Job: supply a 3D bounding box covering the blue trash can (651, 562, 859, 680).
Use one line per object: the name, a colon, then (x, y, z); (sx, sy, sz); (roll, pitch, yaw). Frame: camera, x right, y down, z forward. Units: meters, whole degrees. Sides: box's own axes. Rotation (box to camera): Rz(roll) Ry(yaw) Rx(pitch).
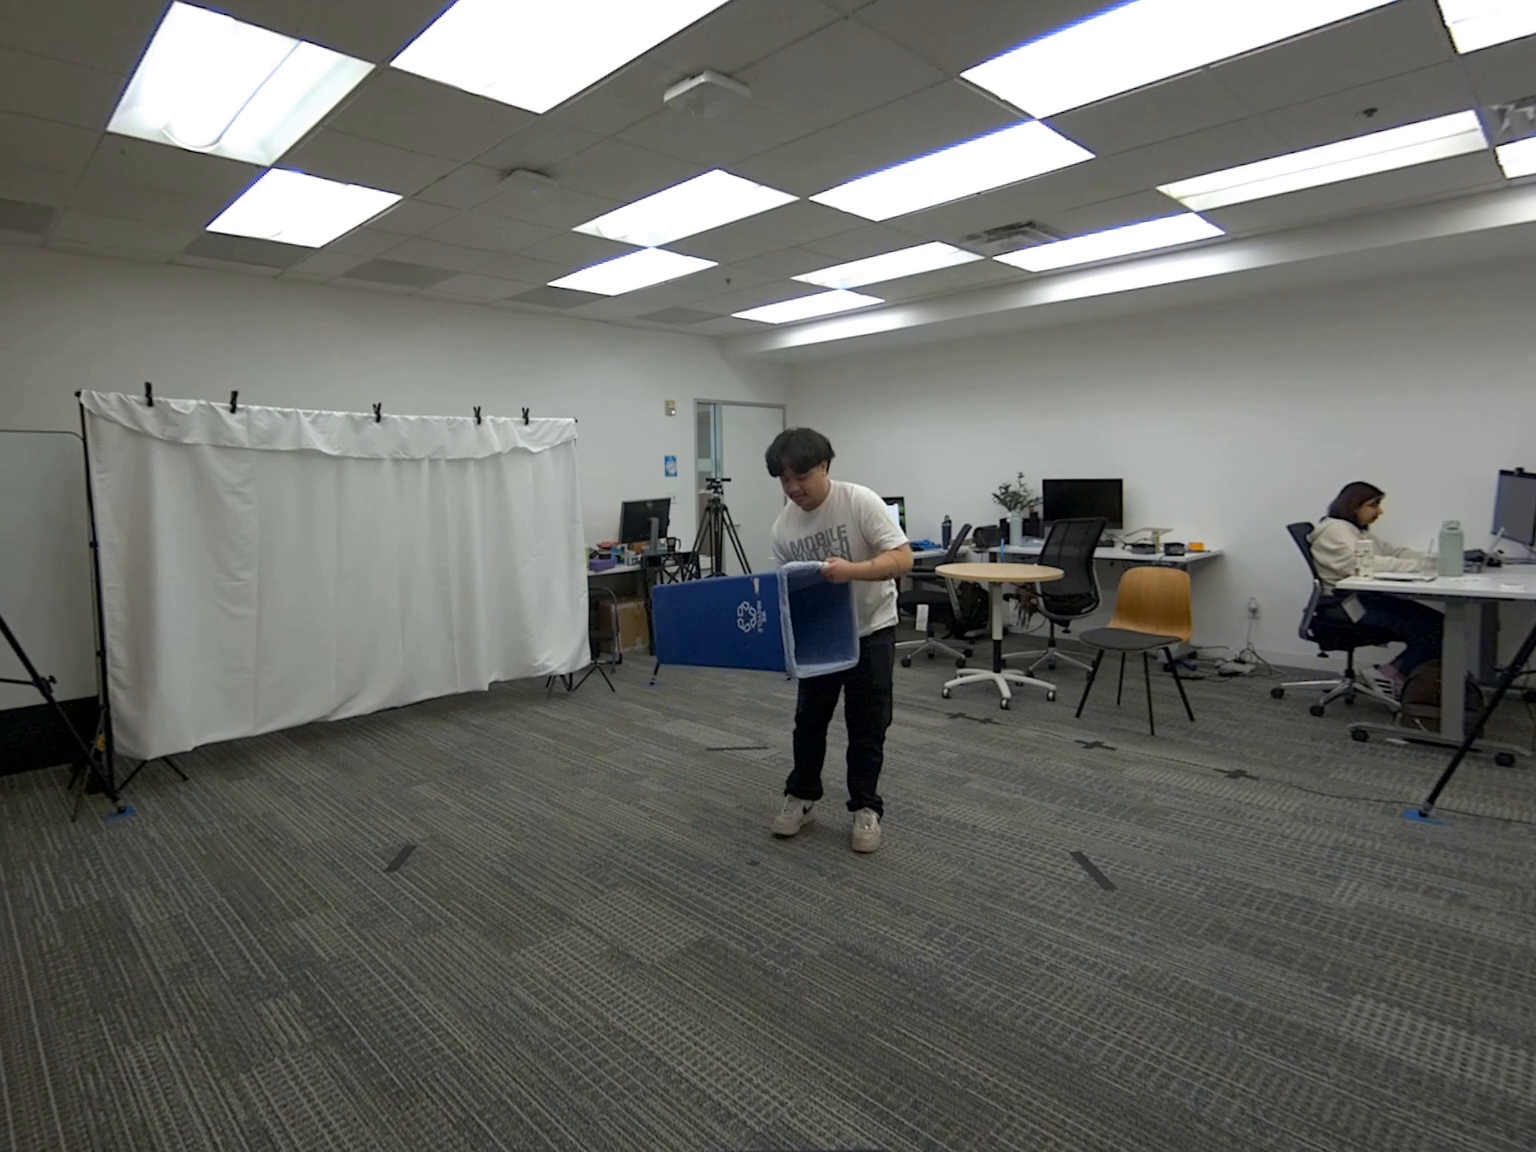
blue trash can: (-0.087, 0.177, 3.137); (0.368, 0.375, 0.732); (-3, -2, -45)
